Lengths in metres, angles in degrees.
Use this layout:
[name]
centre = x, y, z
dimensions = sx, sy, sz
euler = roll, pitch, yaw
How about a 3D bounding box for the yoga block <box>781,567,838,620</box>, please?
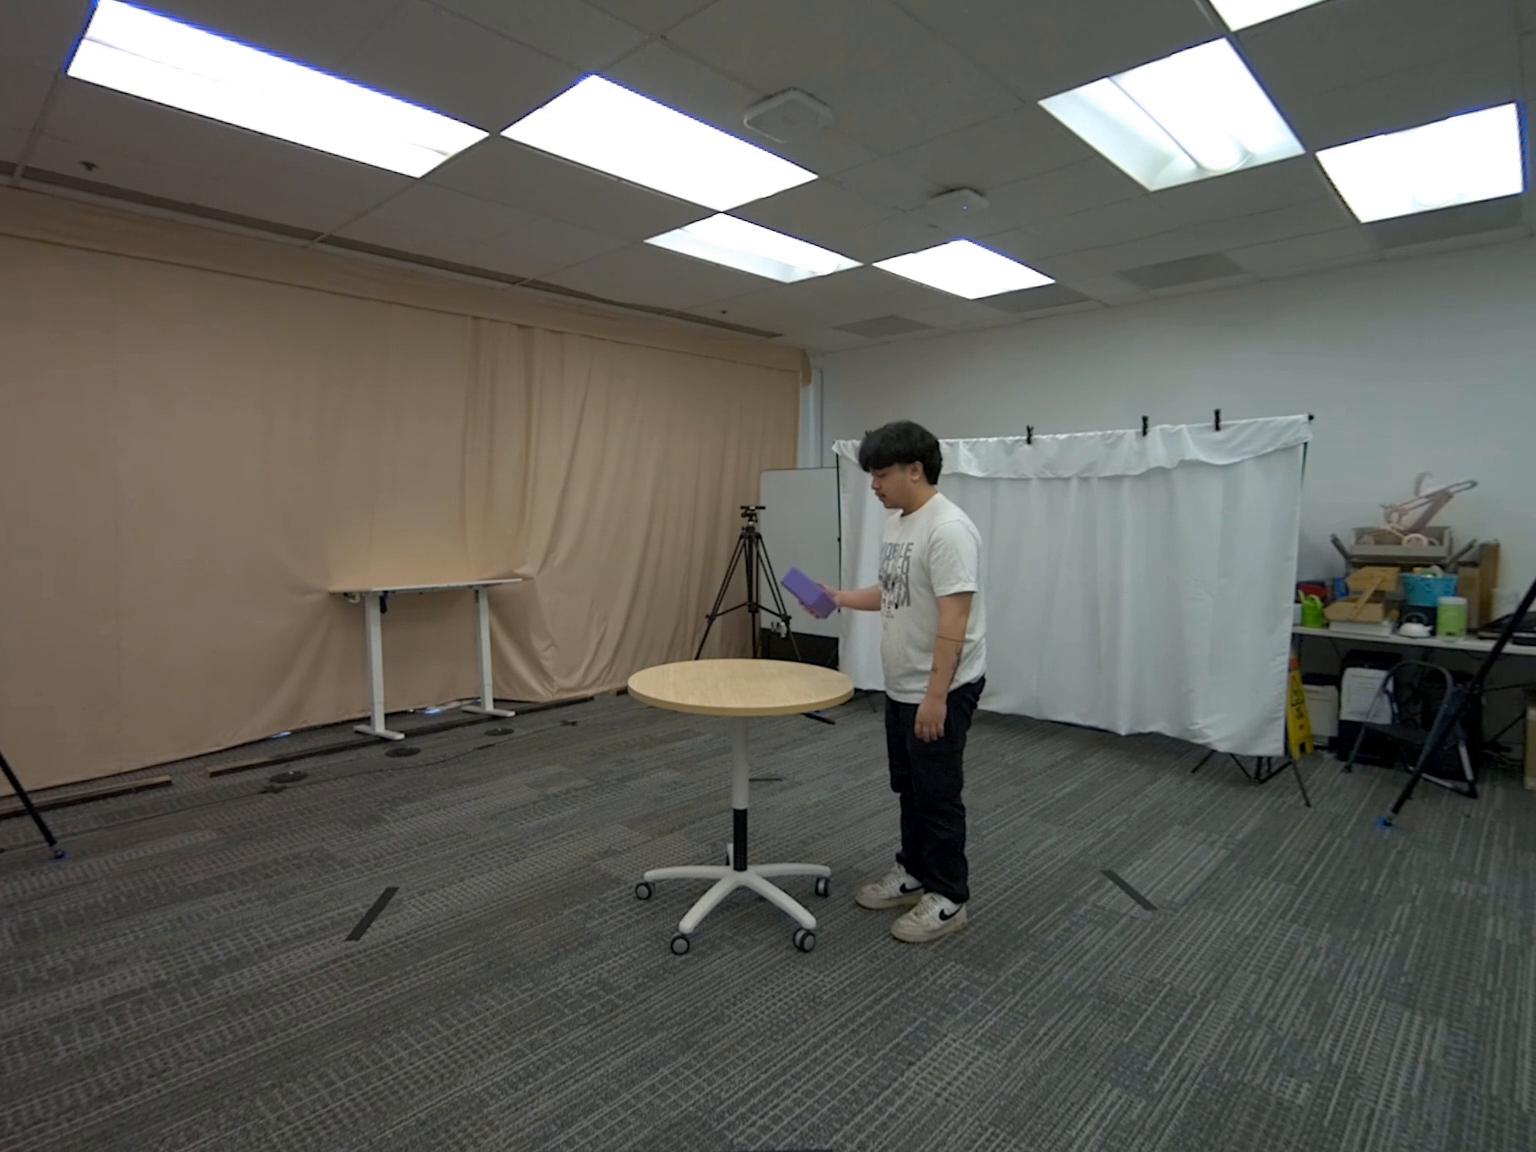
[yoga block]
centre = 0.146, 0.069, 2.854
dimensions = 0.153, 0.076, 0.223
euler = 40, -1, 22
